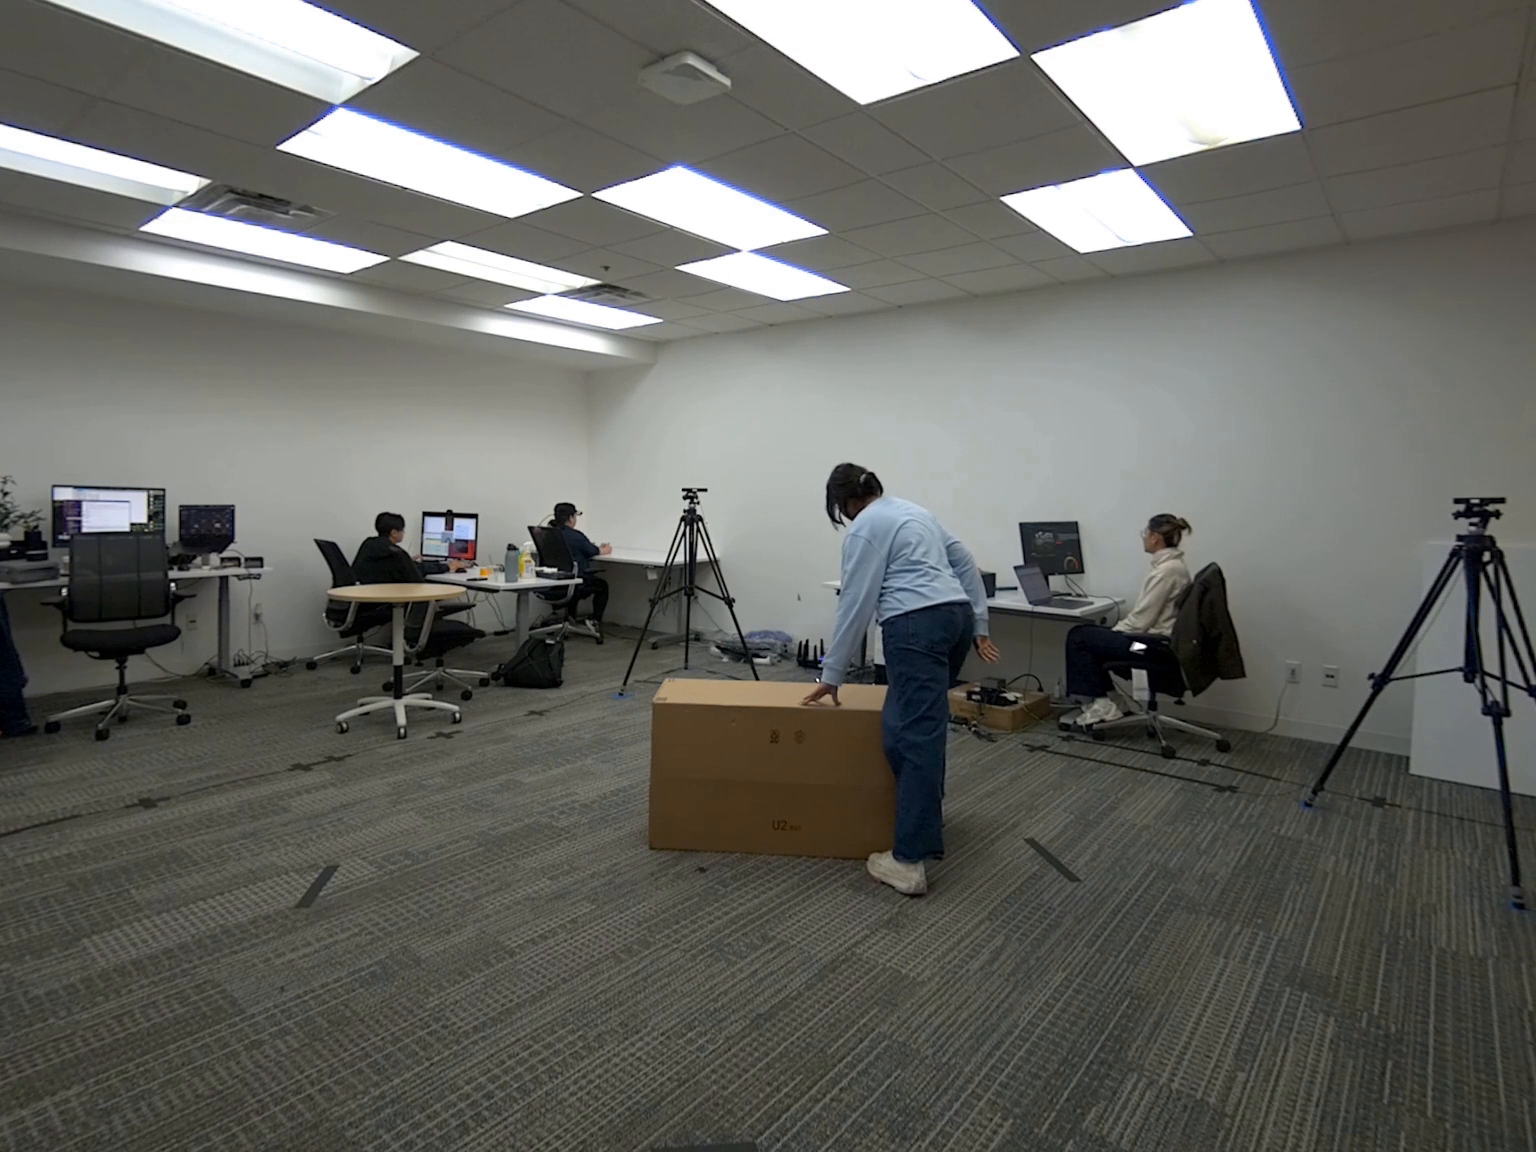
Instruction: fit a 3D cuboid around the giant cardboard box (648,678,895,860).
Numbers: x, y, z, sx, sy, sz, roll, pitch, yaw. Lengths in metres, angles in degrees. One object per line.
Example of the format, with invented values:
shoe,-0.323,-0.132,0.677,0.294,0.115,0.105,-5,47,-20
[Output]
giant cardboard box,0.044,0.752,3.438,1.030,0.576,0.426,2,3,3
